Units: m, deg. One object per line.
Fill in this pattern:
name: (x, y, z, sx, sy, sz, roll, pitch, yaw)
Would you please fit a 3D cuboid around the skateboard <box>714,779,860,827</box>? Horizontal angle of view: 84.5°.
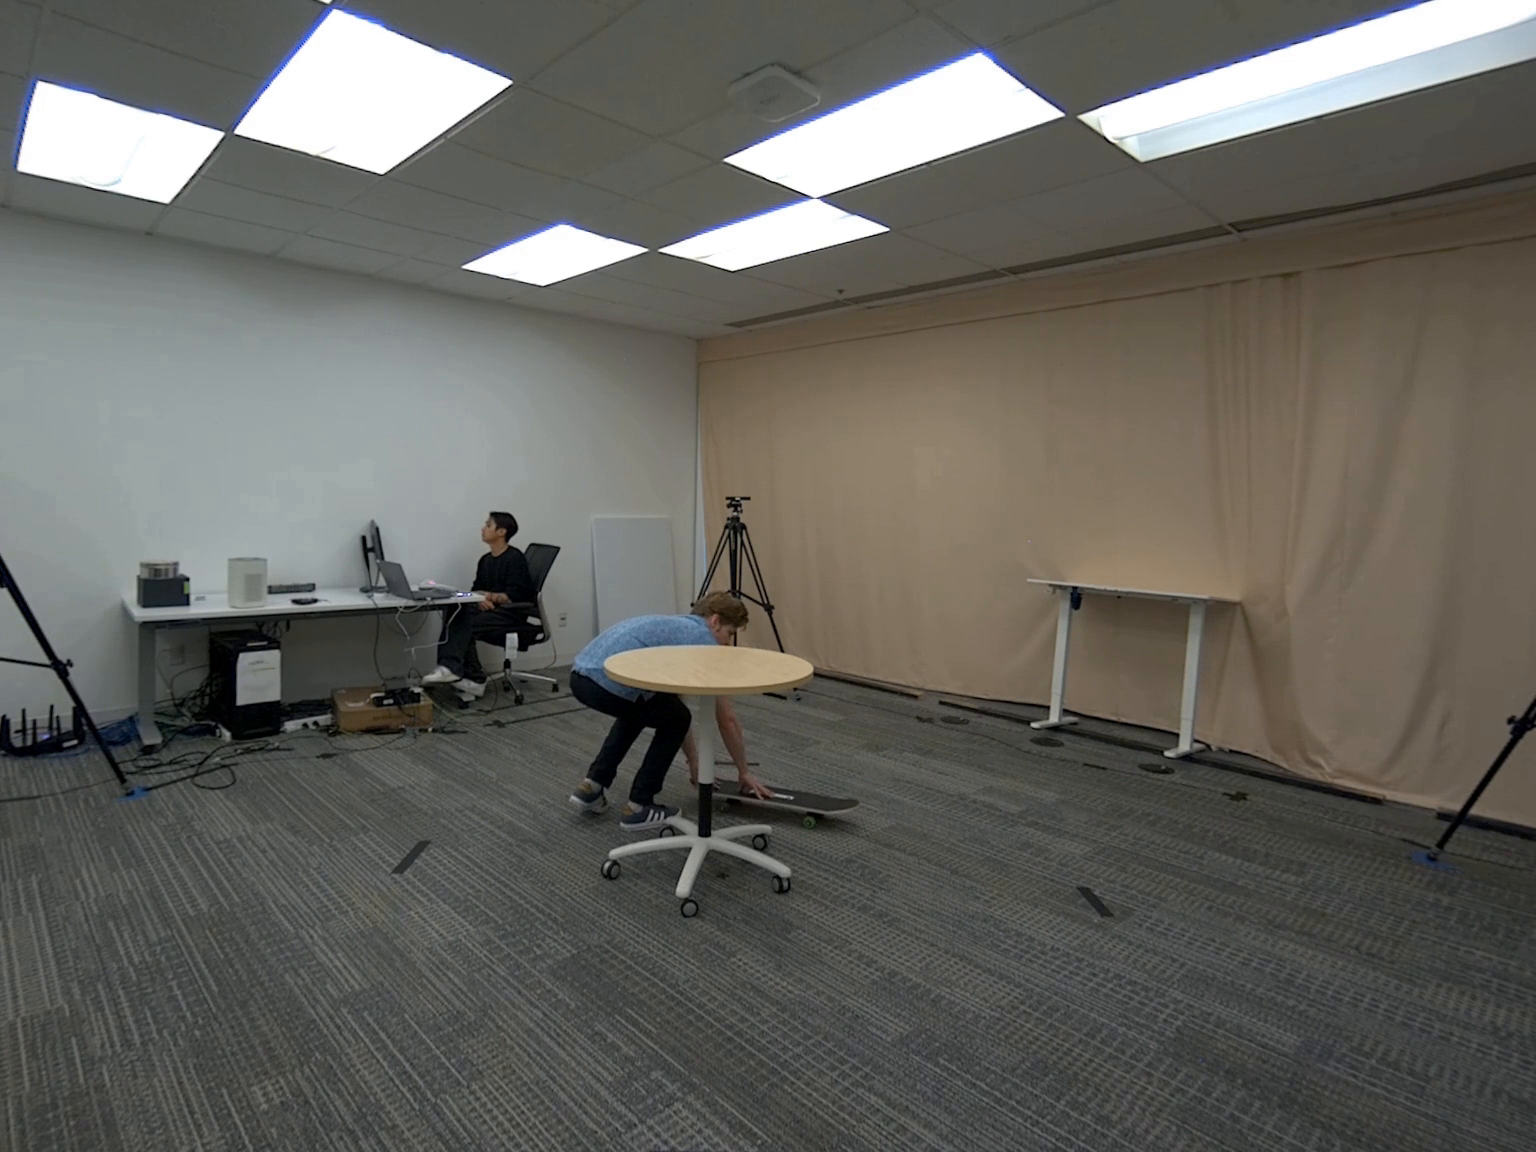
skateboard: (0.008, 1.000, 3.728, 0.799, 0.110, 0.190, 3, 5, 23)
